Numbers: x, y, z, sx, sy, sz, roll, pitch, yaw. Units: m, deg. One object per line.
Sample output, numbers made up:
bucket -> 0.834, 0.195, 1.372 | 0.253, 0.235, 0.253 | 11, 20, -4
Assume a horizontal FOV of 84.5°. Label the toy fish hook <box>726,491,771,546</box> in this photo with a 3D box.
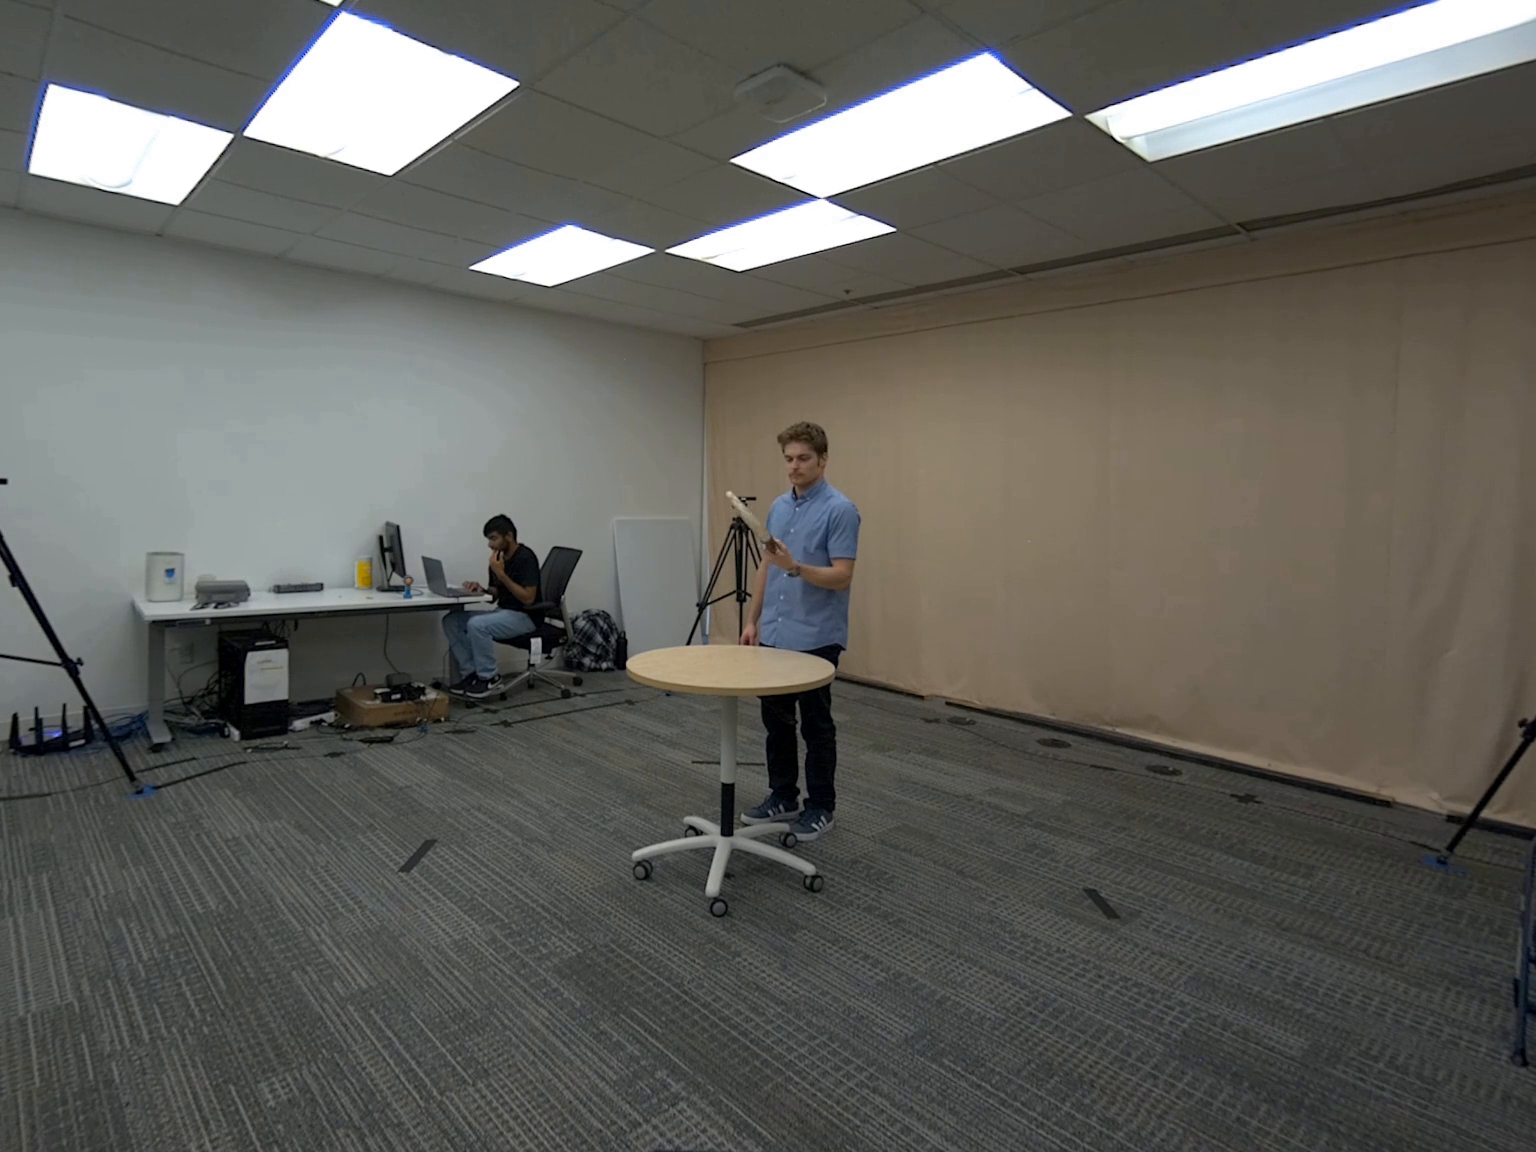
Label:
toy fish hook -> -0.058, -0.182, 3.092 | 0.048, 0.229, 0.495 | -32, -20, 4
